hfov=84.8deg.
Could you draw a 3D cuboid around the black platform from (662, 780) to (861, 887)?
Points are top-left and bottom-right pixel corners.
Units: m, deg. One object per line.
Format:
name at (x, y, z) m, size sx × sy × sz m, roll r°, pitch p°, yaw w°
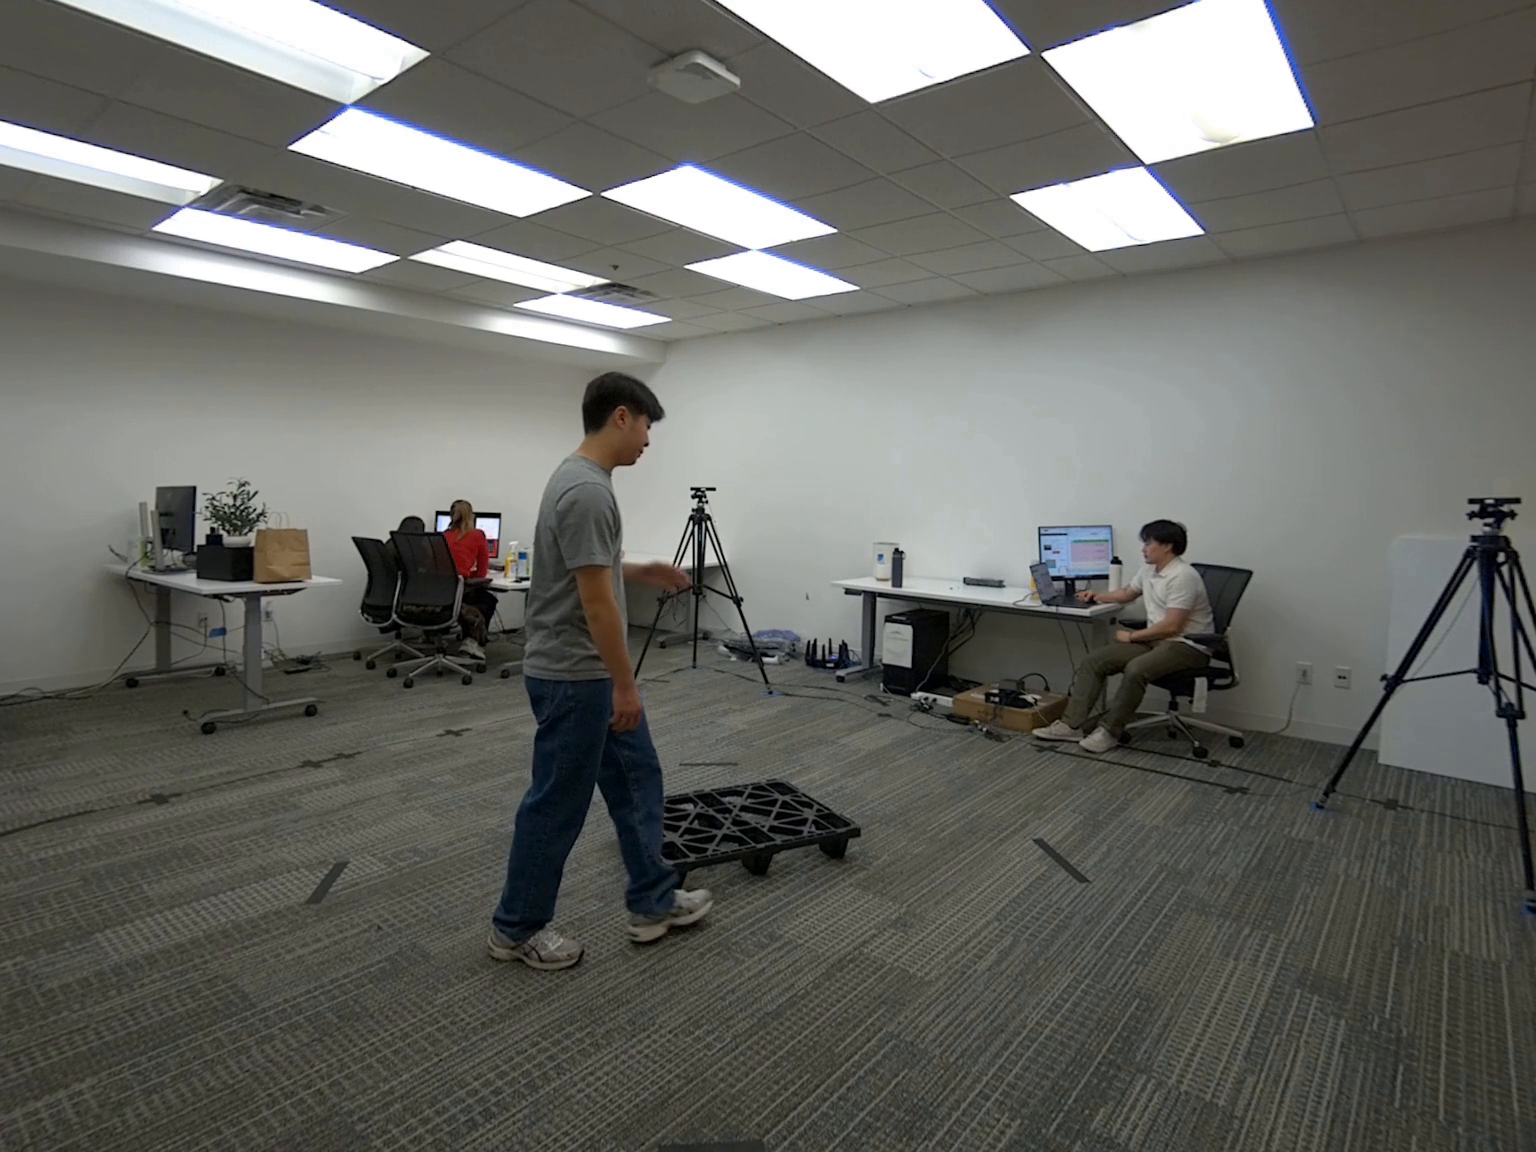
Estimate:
black platform at (-0.143, 0.984, 3.269) m, size 0.785 × 0.143 × 0.623 m, roll -2°, pitch 7°, yaw -28°
